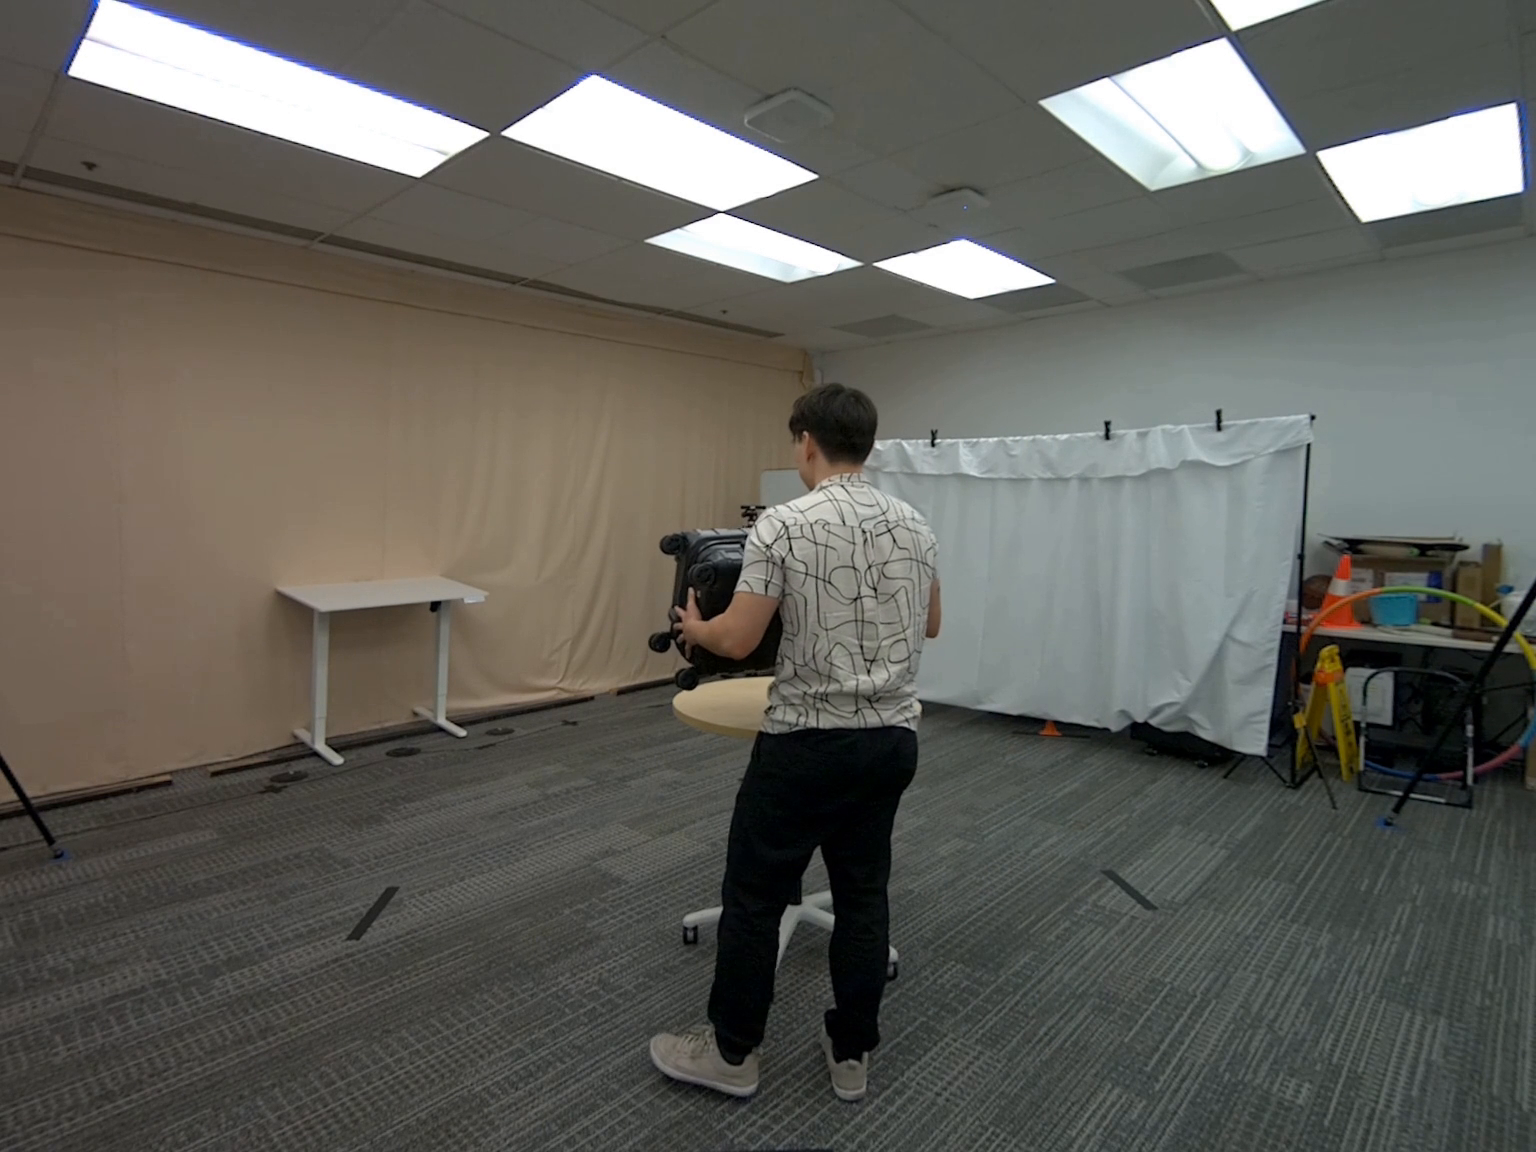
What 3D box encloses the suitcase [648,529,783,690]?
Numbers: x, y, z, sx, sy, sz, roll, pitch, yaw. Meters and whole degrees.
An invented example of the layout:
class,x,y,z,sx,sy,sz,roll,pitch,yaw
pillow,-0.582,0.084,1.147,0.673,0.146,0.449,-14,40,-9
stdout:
class,x,y,z,sx,sy,sz,roll,pitch,yaw
suitcase,-0.016,0.058,2.294,0.537,0.372,0.256,-3,23,-24
